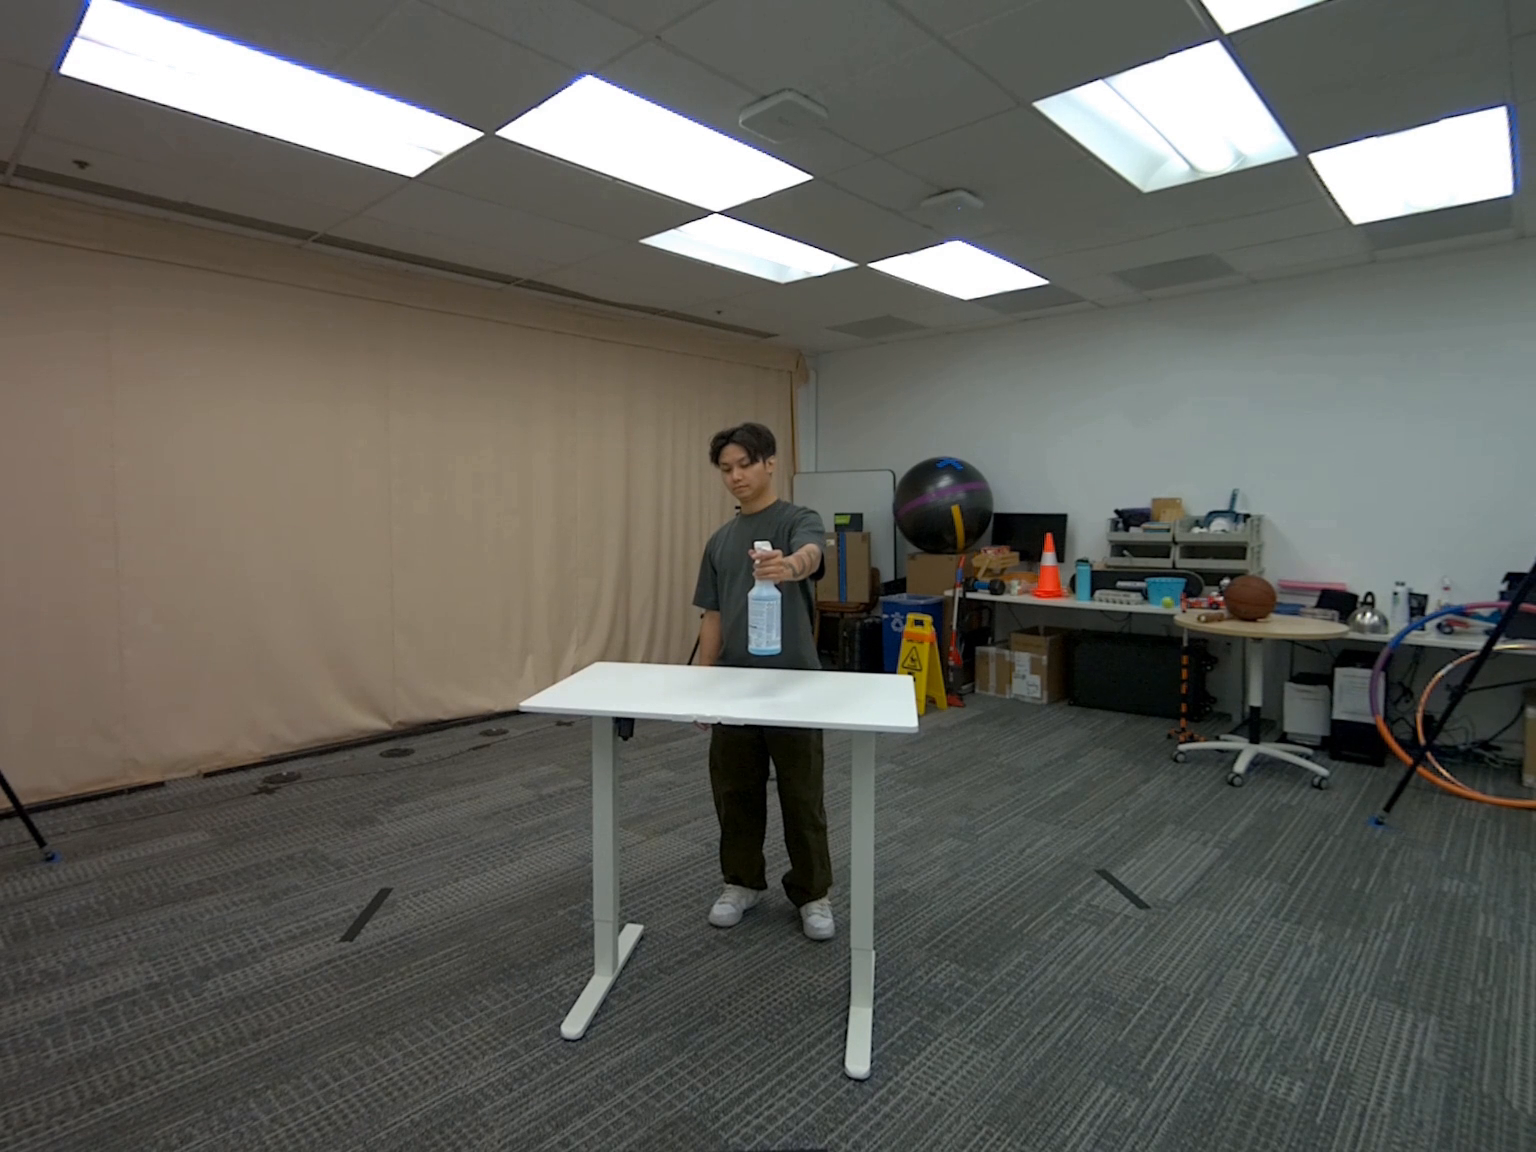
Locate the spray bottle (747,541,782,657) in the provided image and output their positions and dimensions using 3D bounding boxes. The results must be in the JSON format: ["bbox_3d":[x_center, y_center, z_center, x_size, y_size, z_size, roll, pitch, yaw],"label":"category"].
[{"bbox_3d":[-0.009,0.057,2.226,0.087,0.296,0.090,-4,5,-40],"label":"spray bottle"}]
